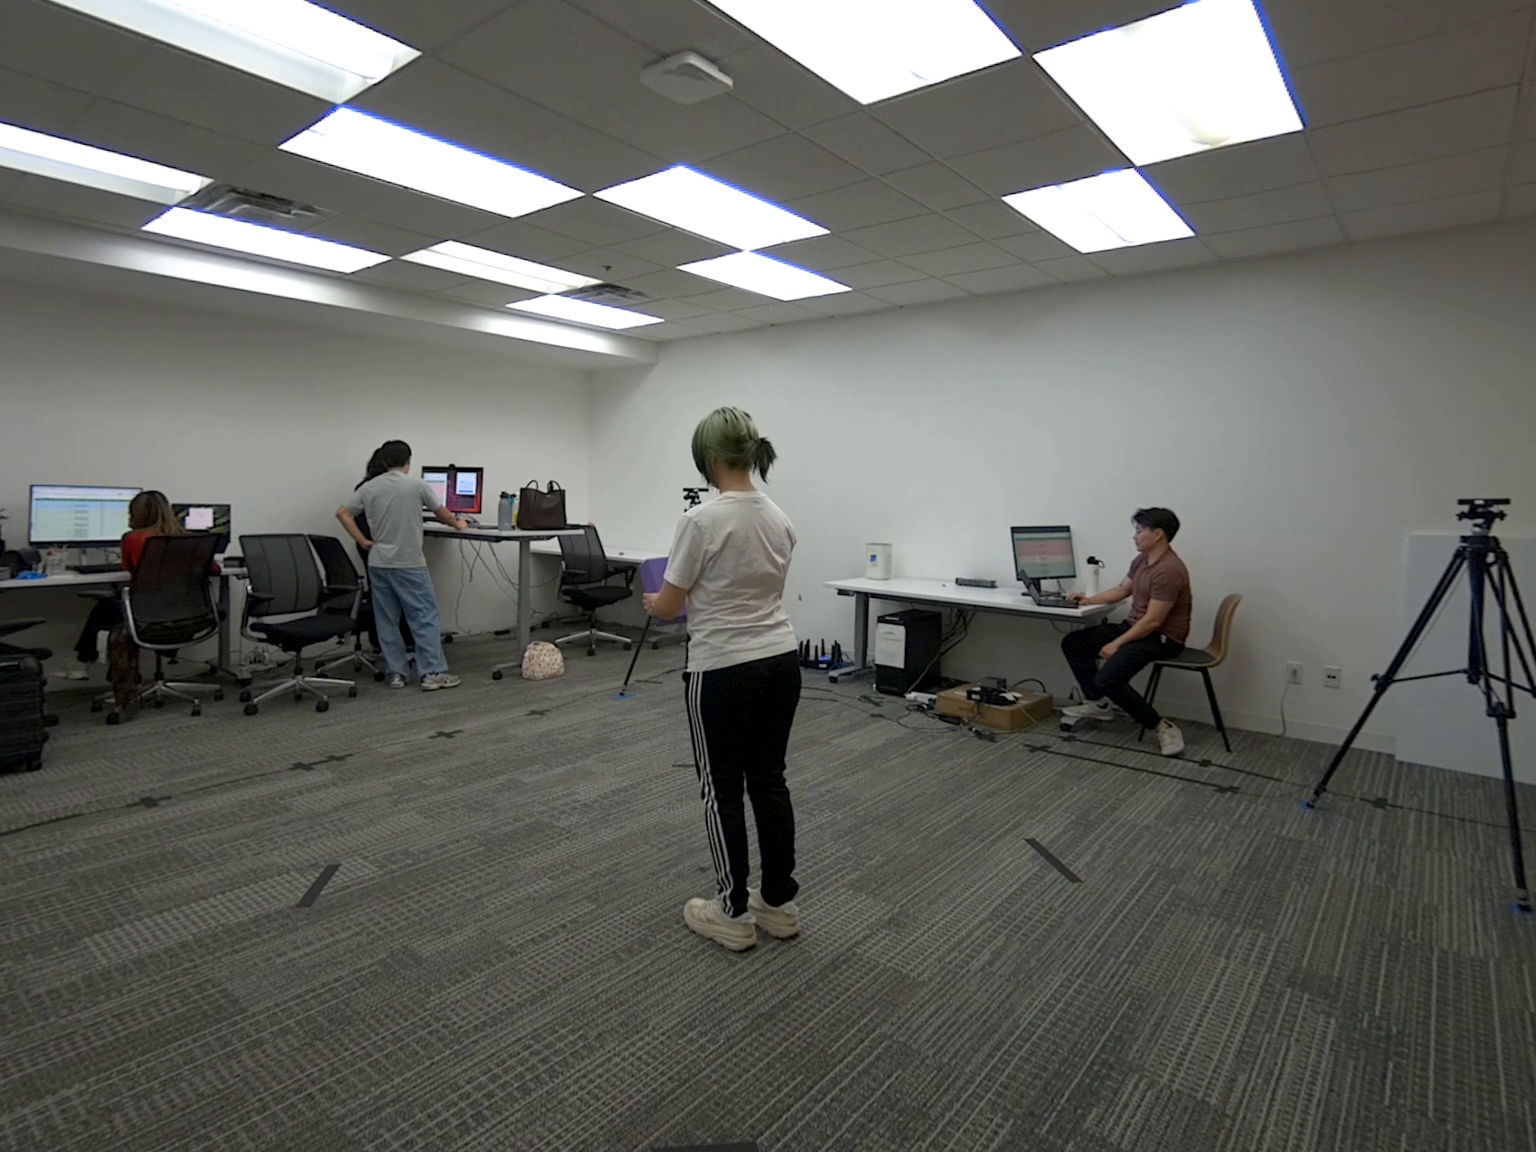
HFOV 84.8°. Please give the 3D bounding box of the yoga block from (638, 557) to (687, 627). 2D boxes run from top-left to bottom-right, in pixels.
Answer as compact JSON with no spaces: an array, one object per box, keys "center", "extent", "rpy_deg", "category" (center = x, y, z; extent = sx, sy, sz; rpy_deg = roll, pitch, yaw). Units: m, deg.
[{"center":[-0.355,0.046,2.954],"extent":[0.145,0.234,0.077],"rpy_deg":[-6,-22,-33],"category":"yoga block"}]
